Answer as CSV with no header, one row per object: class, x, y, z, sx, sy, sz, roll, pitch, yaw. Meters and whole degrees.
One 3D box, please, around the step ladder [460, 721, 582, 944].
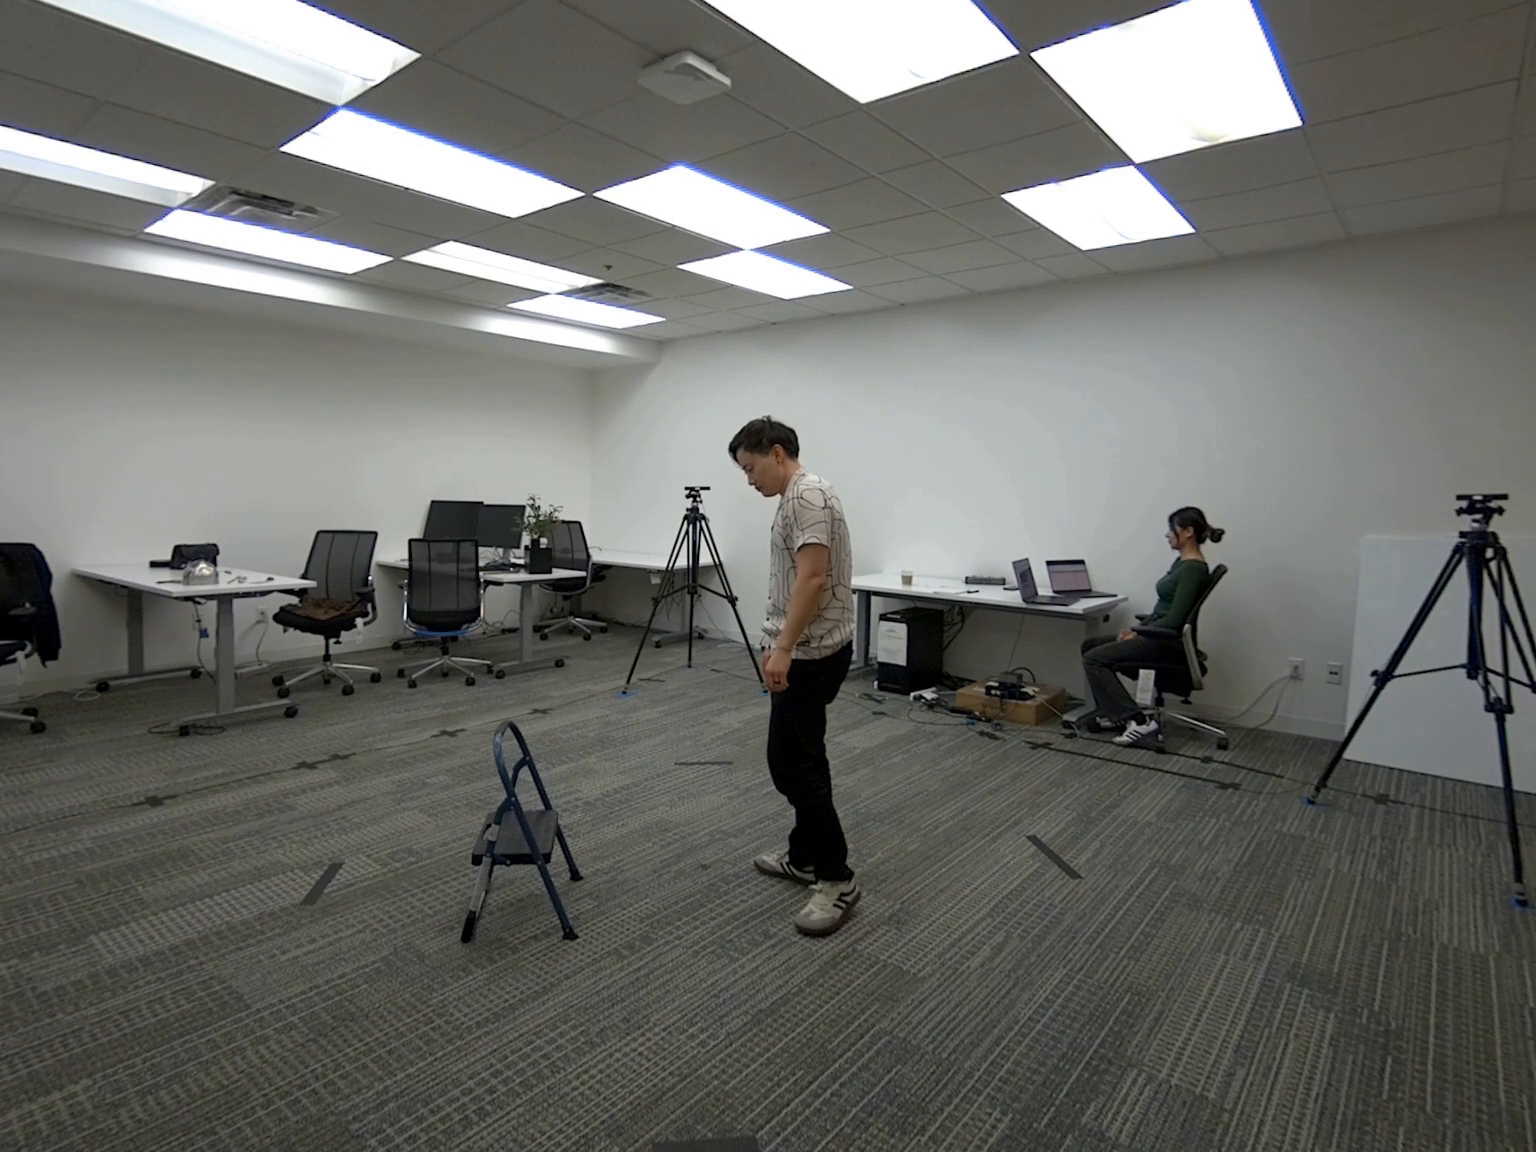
step ladder,-0.804,0.789,2.781,0.346,0.604,0.436,1,3,-9
